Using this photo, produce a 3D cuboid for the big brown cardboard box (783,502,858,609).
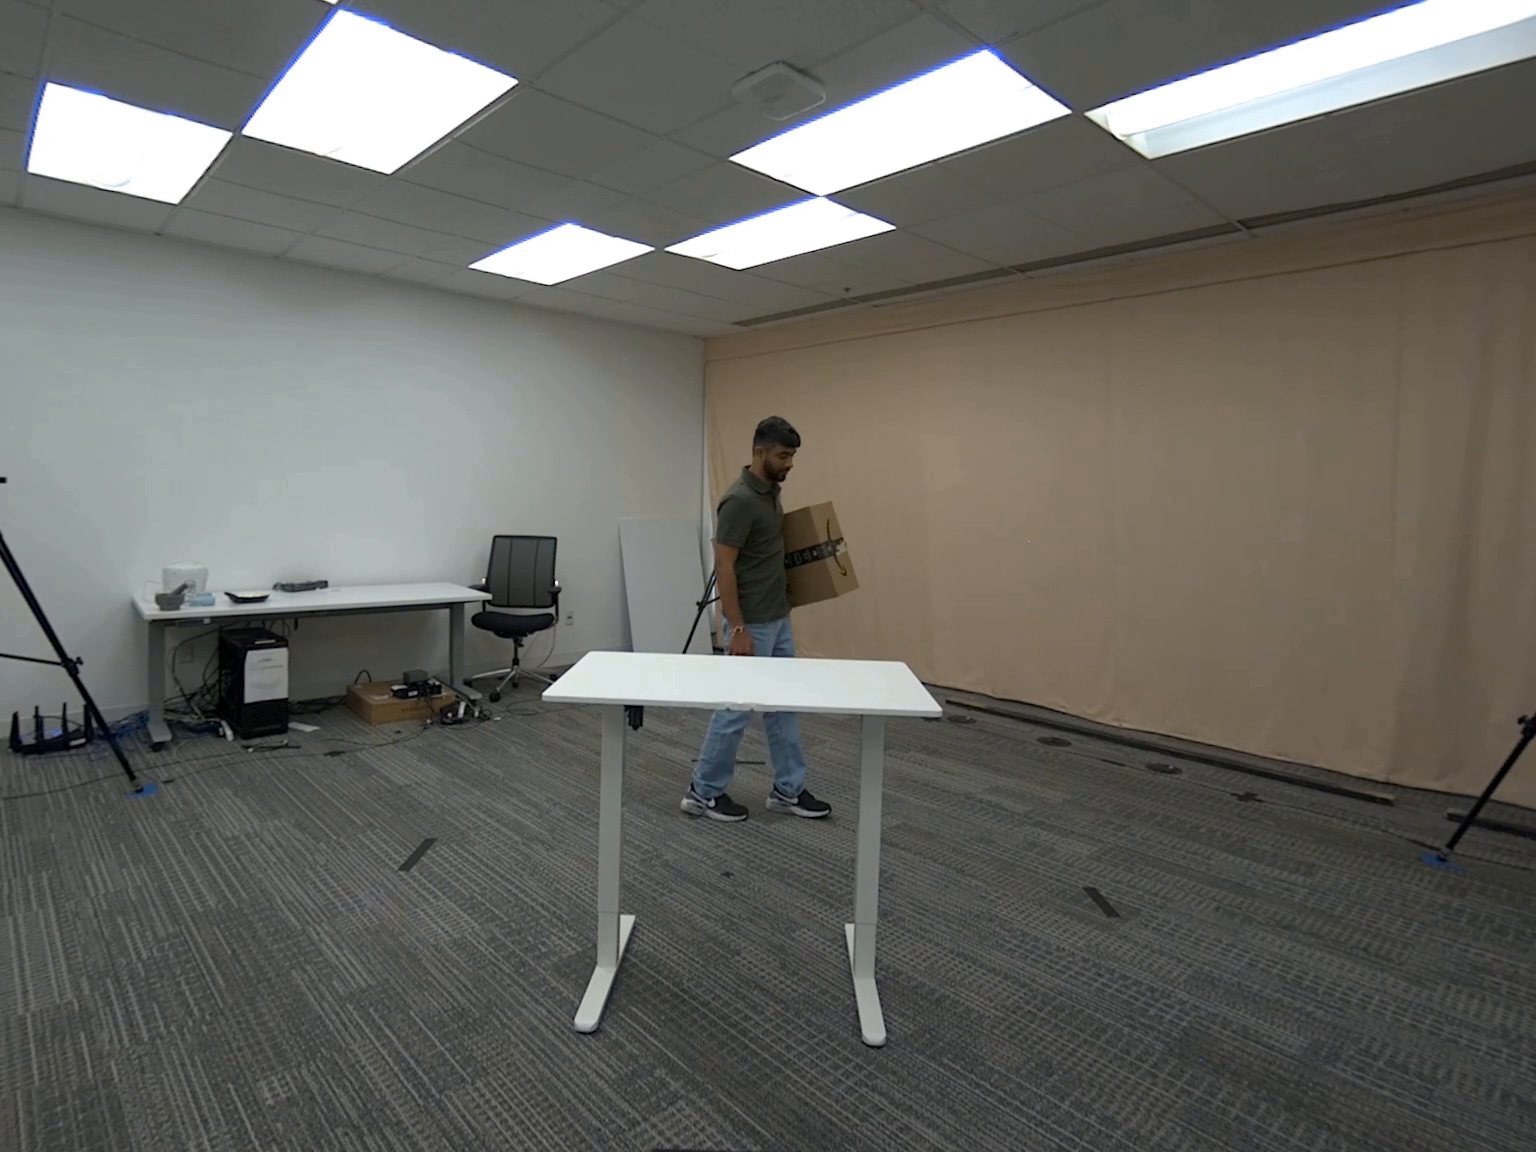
[{"bbox_3d":[0.056,-0.064,3.882,0.598,0.418,0.229,-15,0,36],"label":"big brown cardboard box"}]
